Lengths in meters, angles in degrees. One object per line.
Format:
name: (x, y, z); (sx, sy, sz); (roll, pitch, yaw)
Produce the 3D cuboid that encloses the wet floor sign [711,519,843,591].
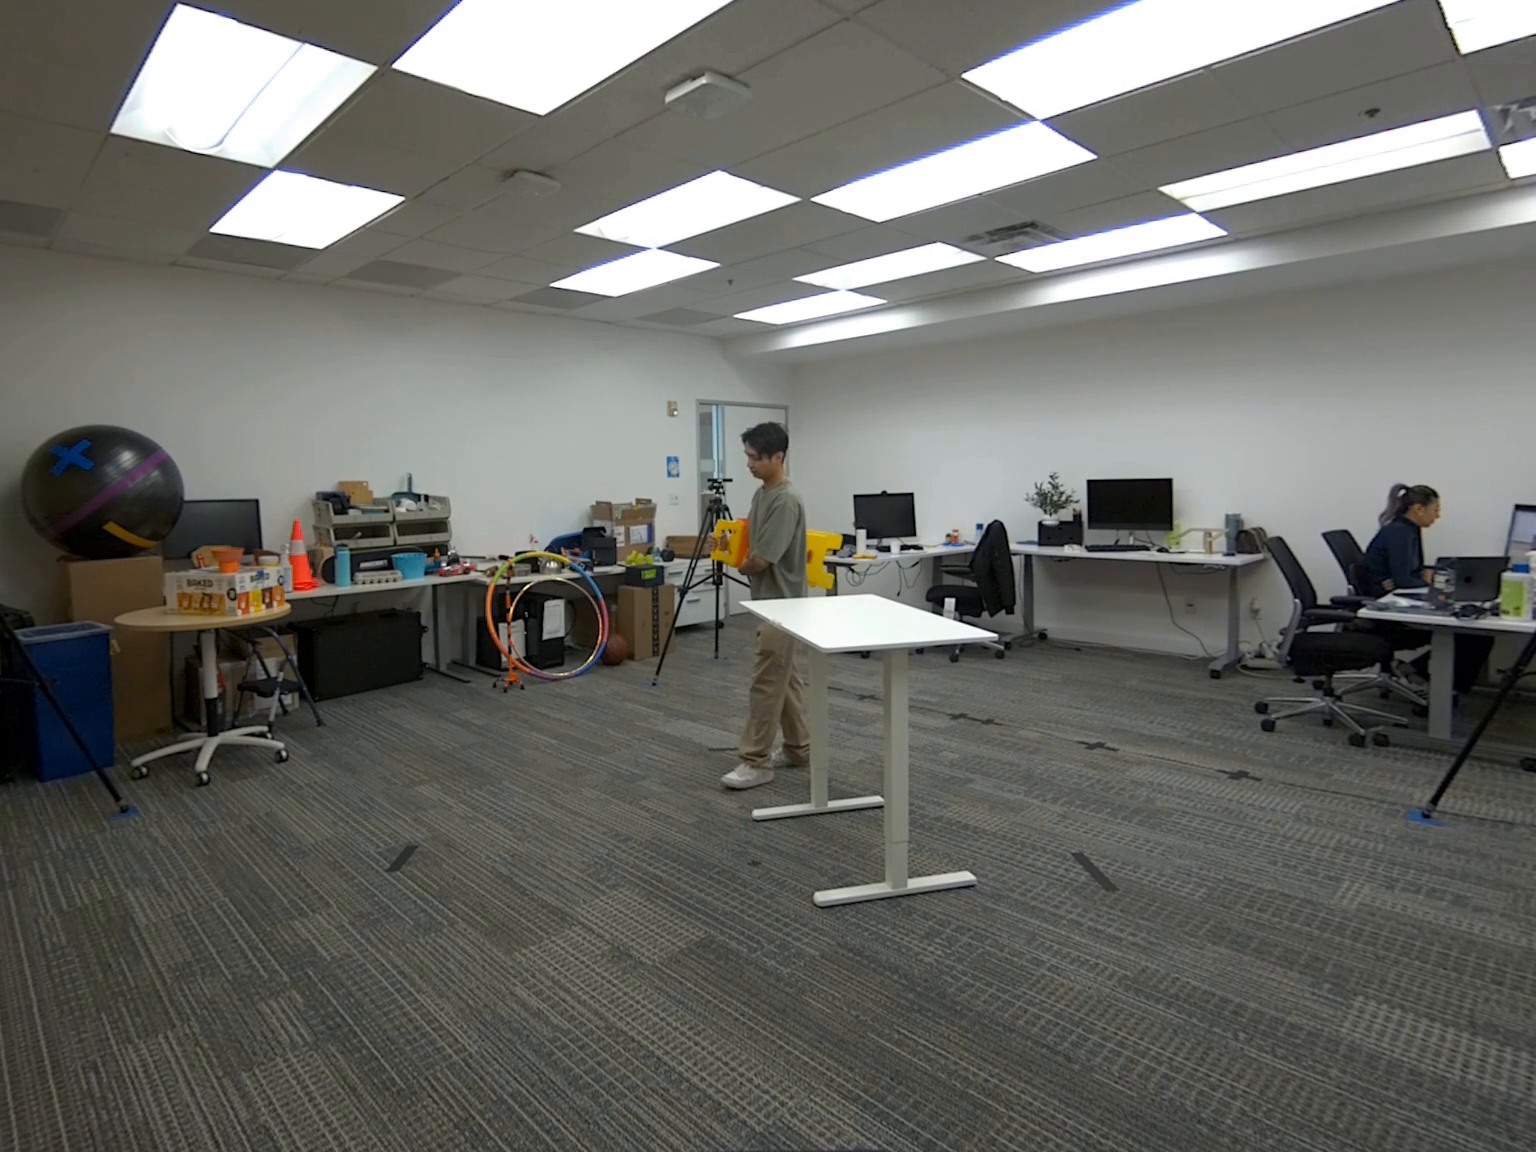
wet floor sign: (0.031, -0.112, 4.243); (0.630, 0.282, 0.297); (11, -1, -24)
